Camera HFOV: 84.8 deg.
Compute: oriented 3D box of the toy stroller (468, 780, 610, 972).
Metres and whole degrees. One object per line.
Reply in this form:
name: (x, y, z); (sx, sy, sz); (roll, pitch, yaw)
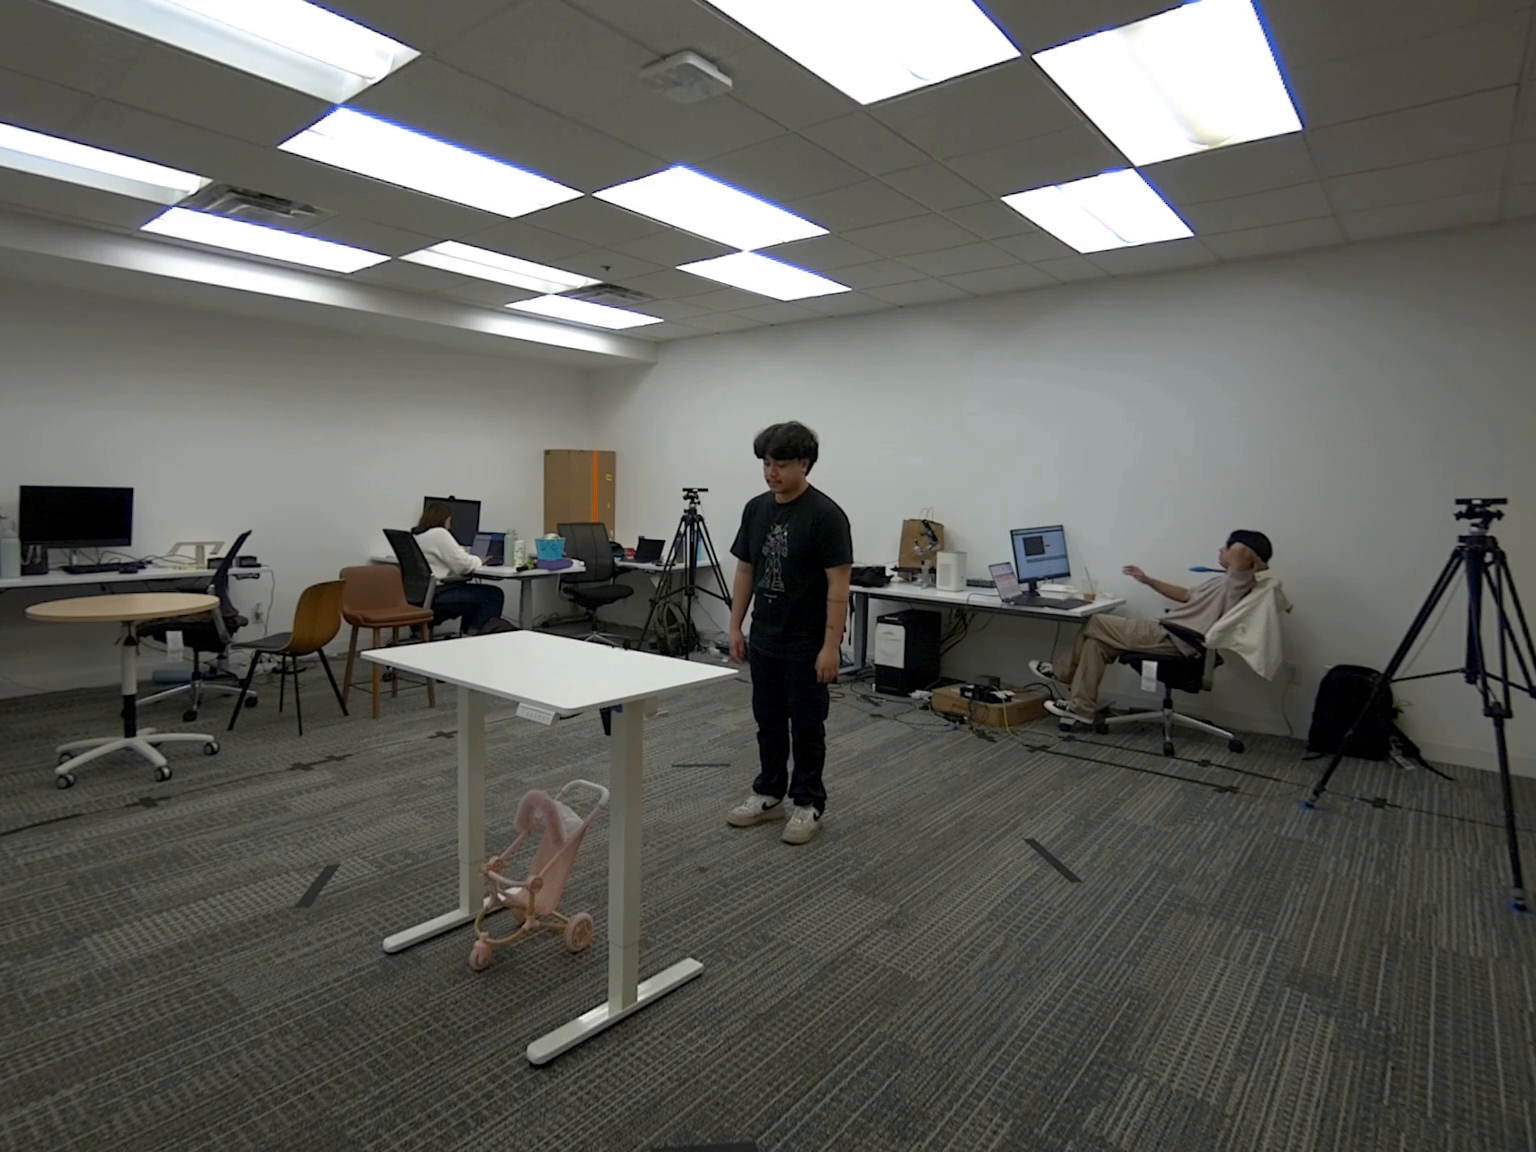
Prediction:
toy stroller: (-0.716, 0.890, 2.572); (0.291, 0.538, 0.328); (3, -11, 43)
